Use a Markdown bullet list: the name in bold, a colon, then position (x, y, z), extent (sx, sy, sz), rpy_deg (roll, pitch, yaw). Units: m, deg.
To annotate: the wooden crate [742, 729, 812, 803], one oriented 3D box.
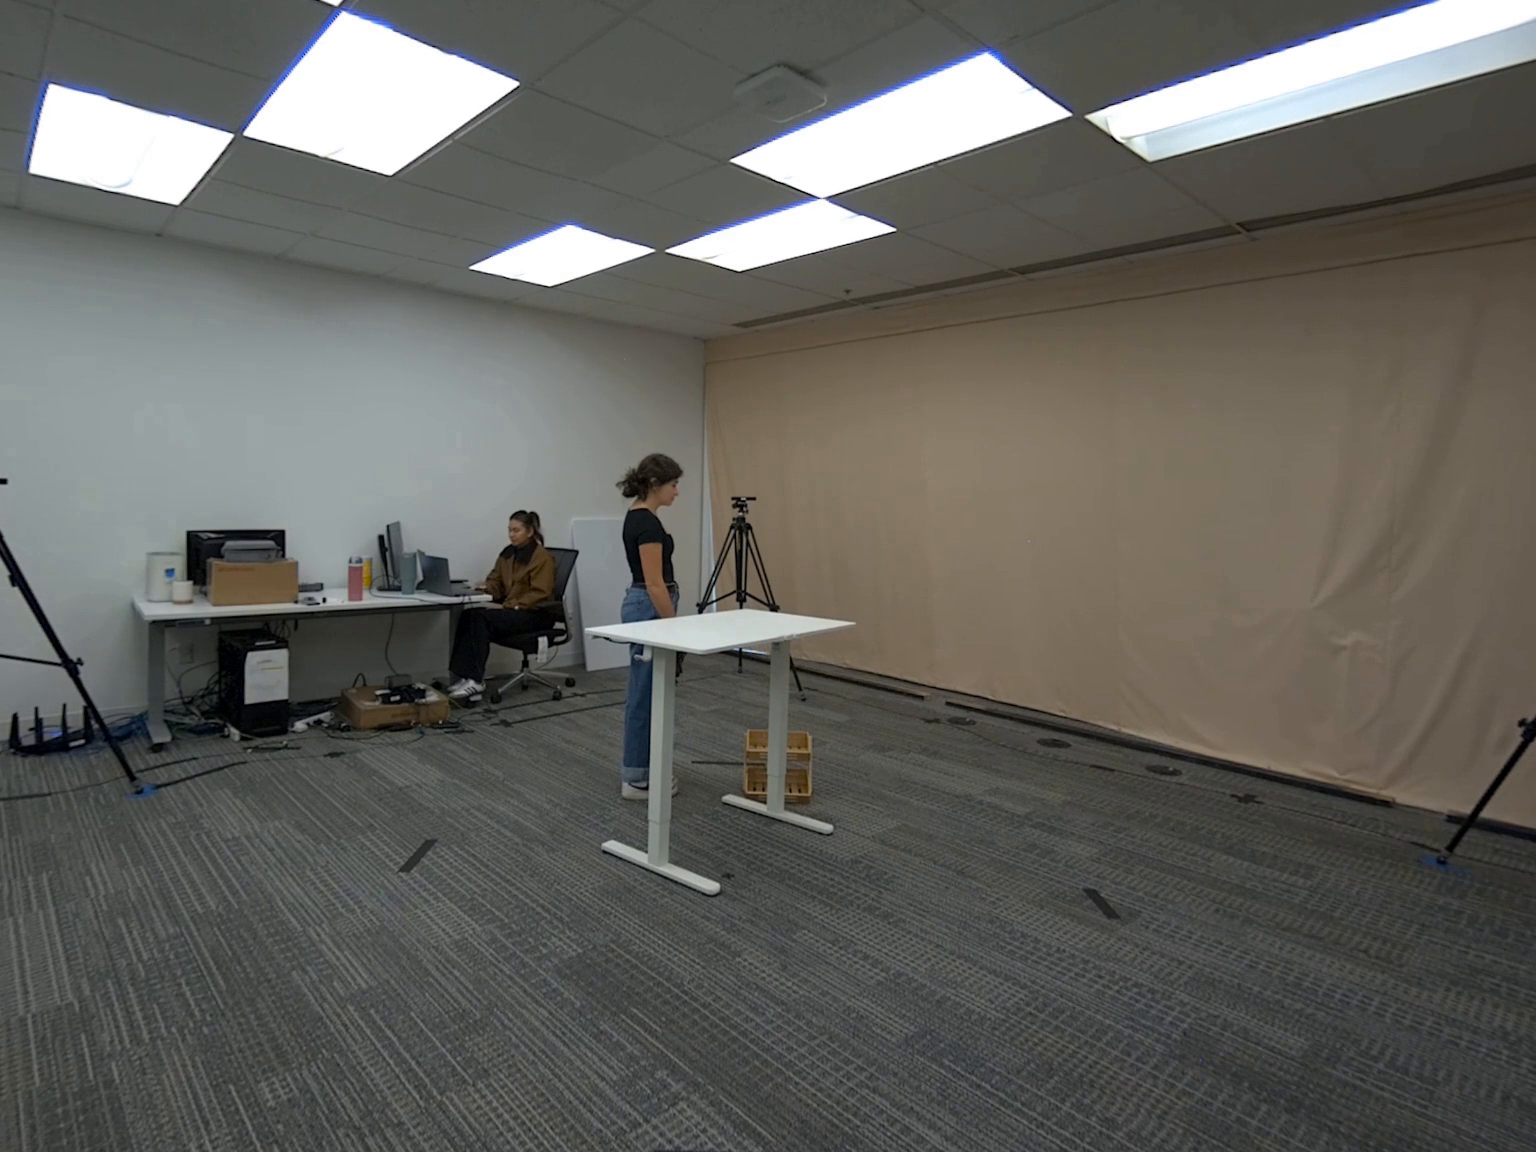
- **wooden crate**: position (0.031, 0.895, 3.992), extent (0.325, 0.273, 0.302), rpy_deg (2, 3, 0)
